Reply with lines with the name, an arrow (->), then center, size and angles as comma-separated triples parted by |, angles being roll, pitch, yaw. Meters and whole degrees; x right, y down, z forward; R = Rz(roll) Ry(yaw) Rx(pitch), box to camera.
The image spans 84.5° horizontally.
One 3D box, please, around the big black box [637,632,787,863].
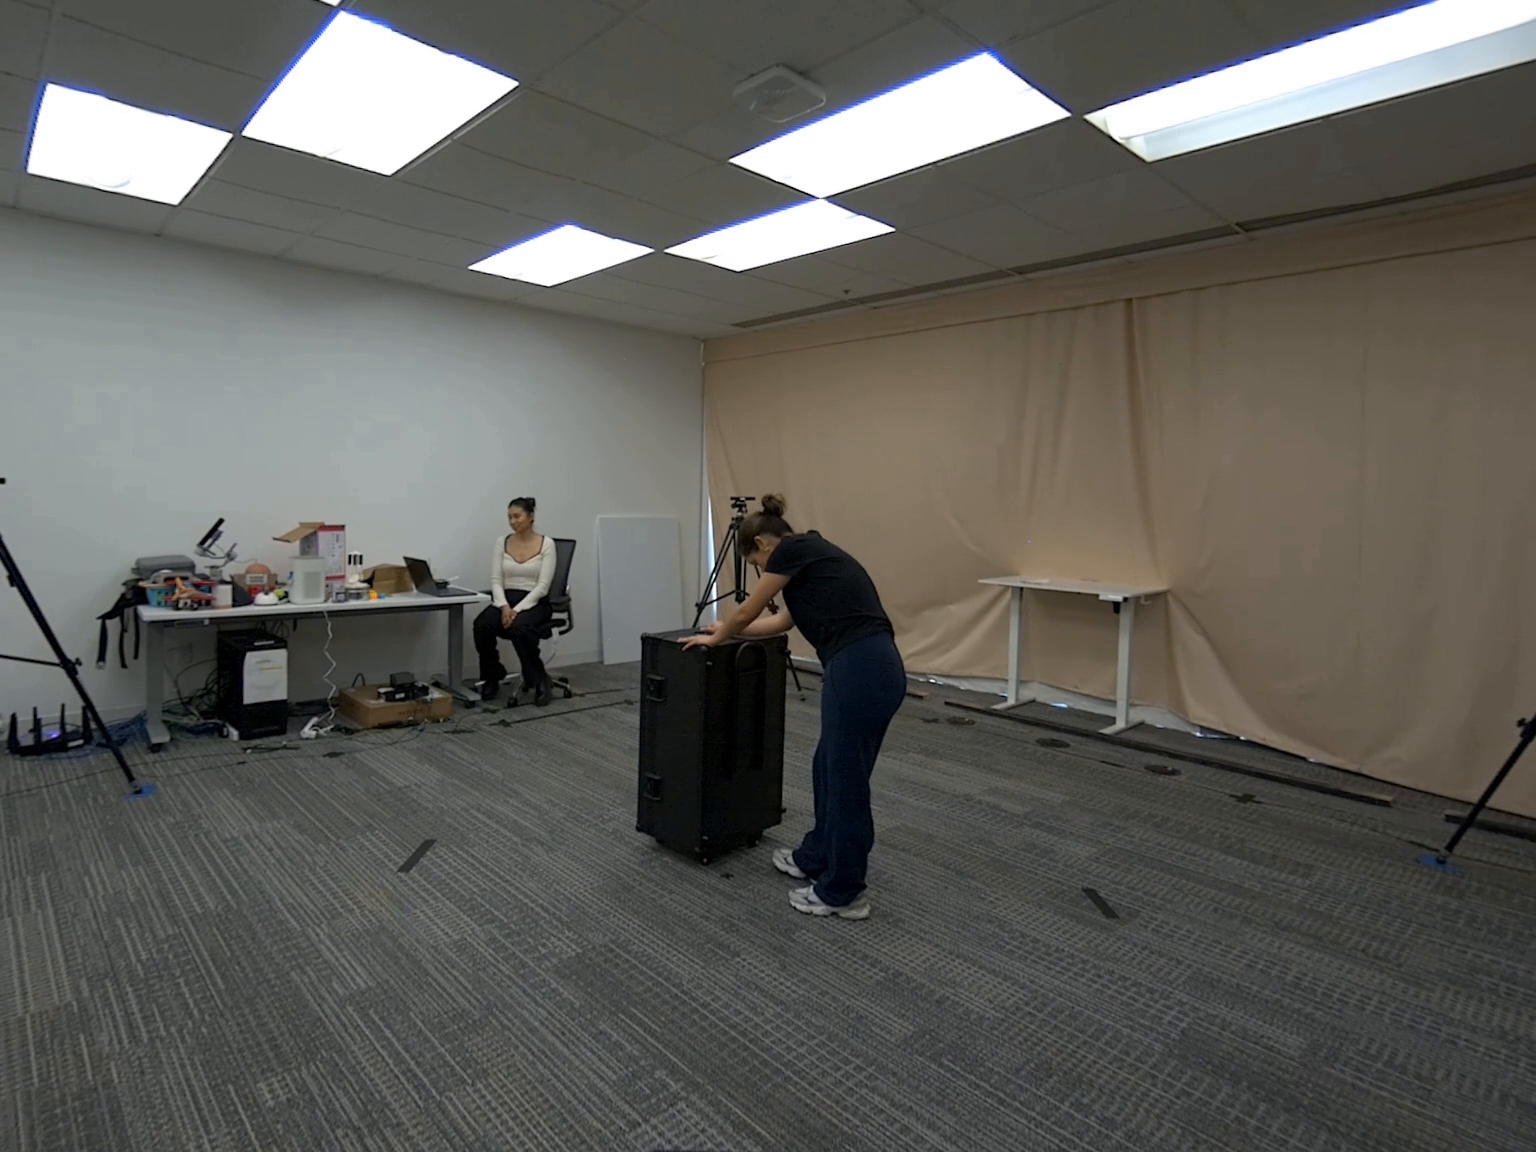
big black box -> -0.235, 0.663, 3.360 | 0.406, 0.859, 0.510 | 4, 5, 41
